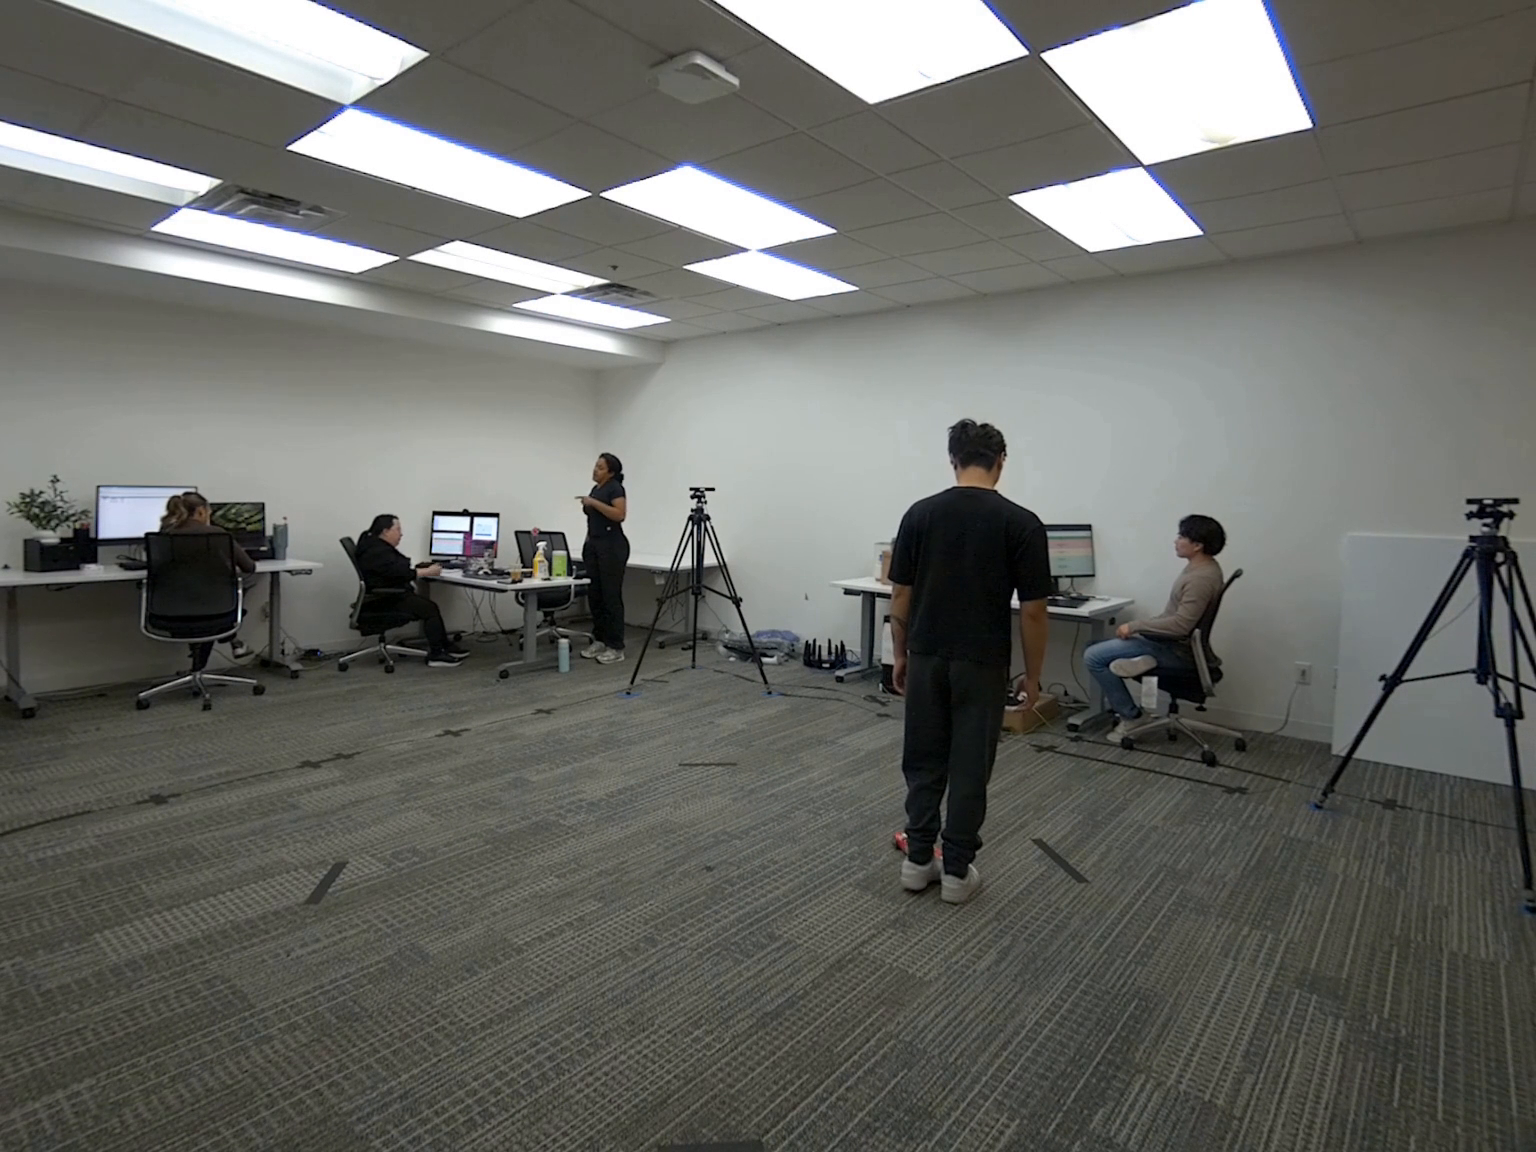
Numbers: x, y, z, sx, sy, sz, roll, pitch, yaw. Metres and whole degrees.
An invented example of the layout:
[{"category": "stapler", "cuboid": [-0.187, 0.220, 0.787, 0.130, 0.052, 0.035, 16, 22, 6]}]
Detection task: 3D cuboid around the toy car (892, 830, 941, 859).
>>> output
[{"category": "toy car", "cuboid": [0.571, 1.033, 3.248, 0.128, 0.084, 0.257, 0, -6, -17]}]
